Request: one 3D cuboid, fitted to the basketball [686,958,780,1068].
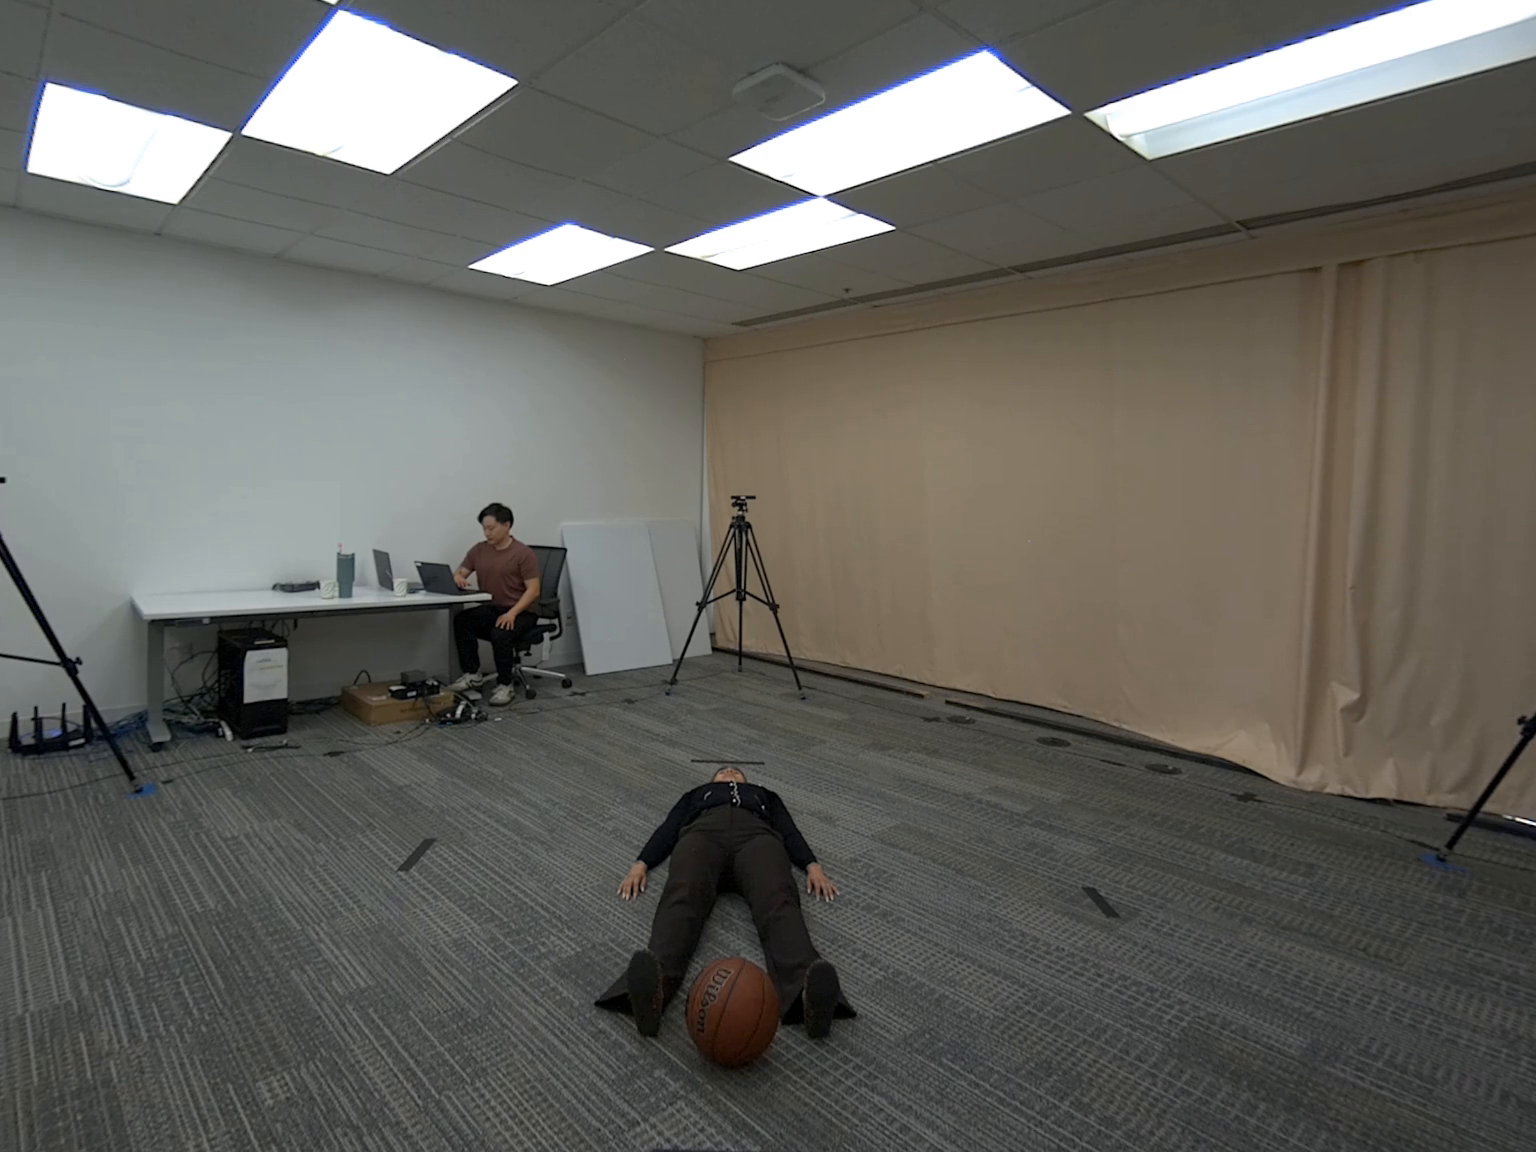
[{"bbox_3d":[-0.095,1.080,2.095,0.235,0.235,0.237,4,5,-2],"label":"basketball"}]
